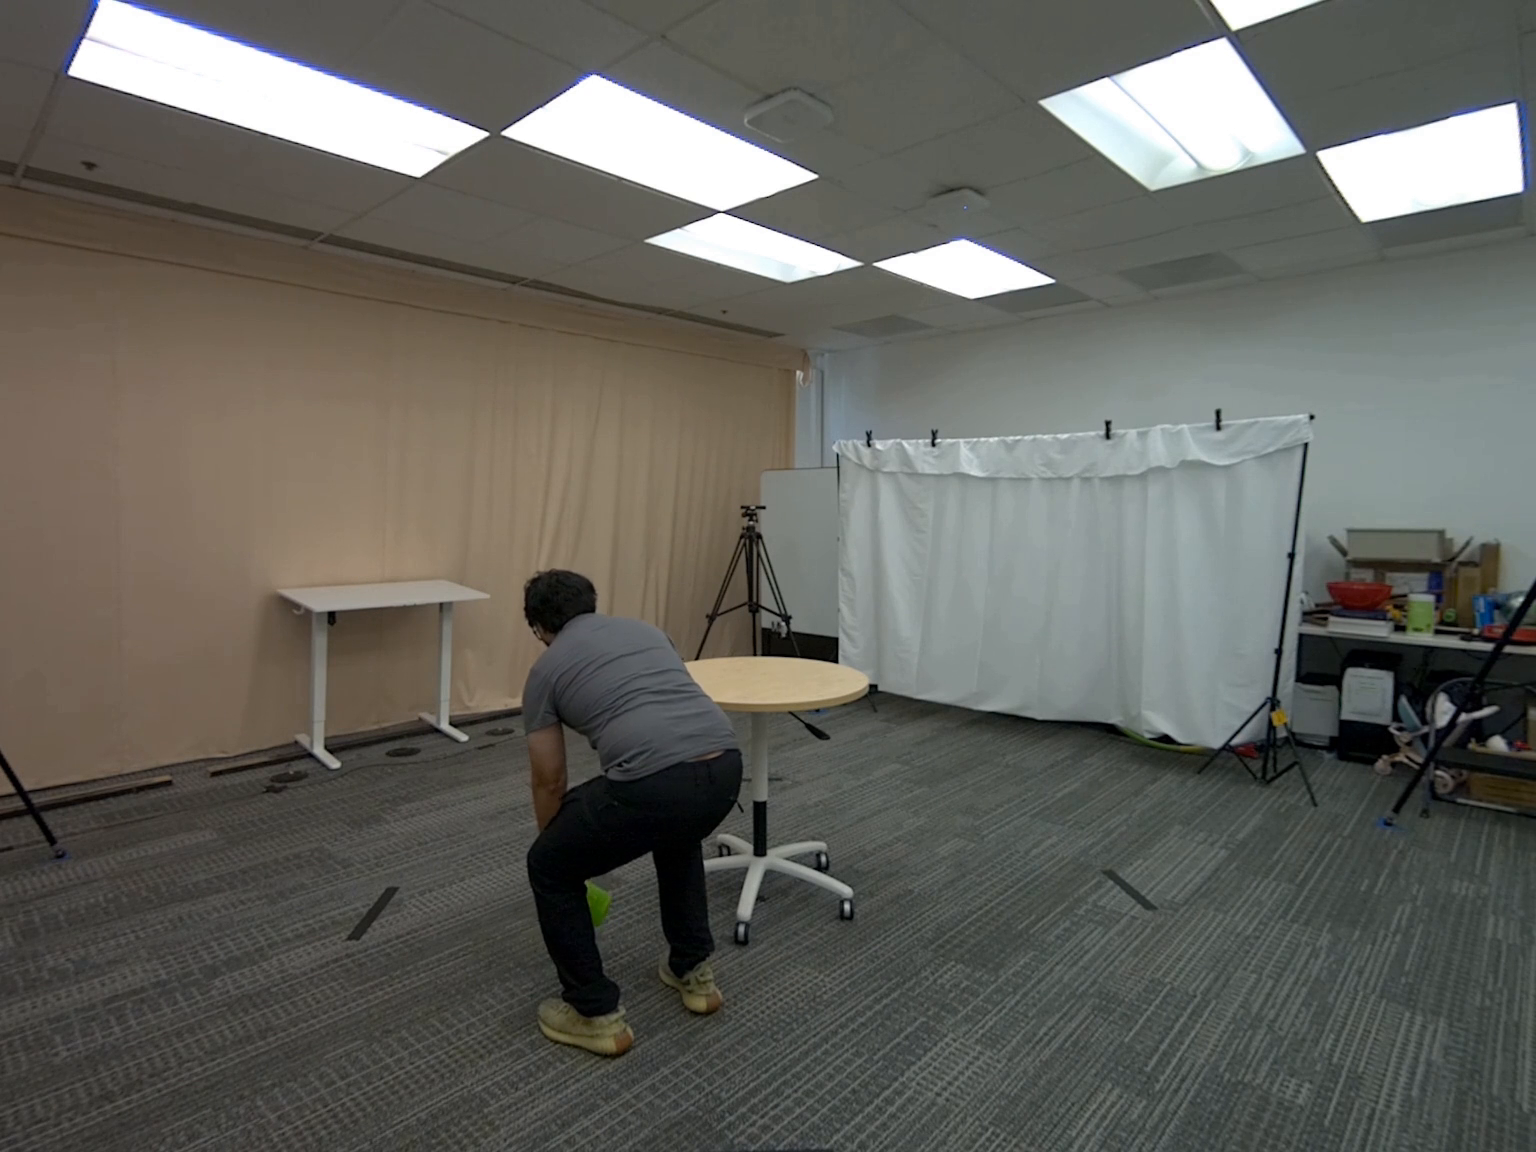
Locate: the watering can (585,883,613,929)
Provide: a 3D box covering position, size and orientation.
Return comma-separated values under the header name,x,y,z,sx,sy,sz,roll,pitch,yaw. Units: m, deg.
name,x,y,z,sx,sy,sz,roll,pitch,yaw
watering can,-0.549,0.953,2.528,0.177,0.098,0.278,29,3,-1
